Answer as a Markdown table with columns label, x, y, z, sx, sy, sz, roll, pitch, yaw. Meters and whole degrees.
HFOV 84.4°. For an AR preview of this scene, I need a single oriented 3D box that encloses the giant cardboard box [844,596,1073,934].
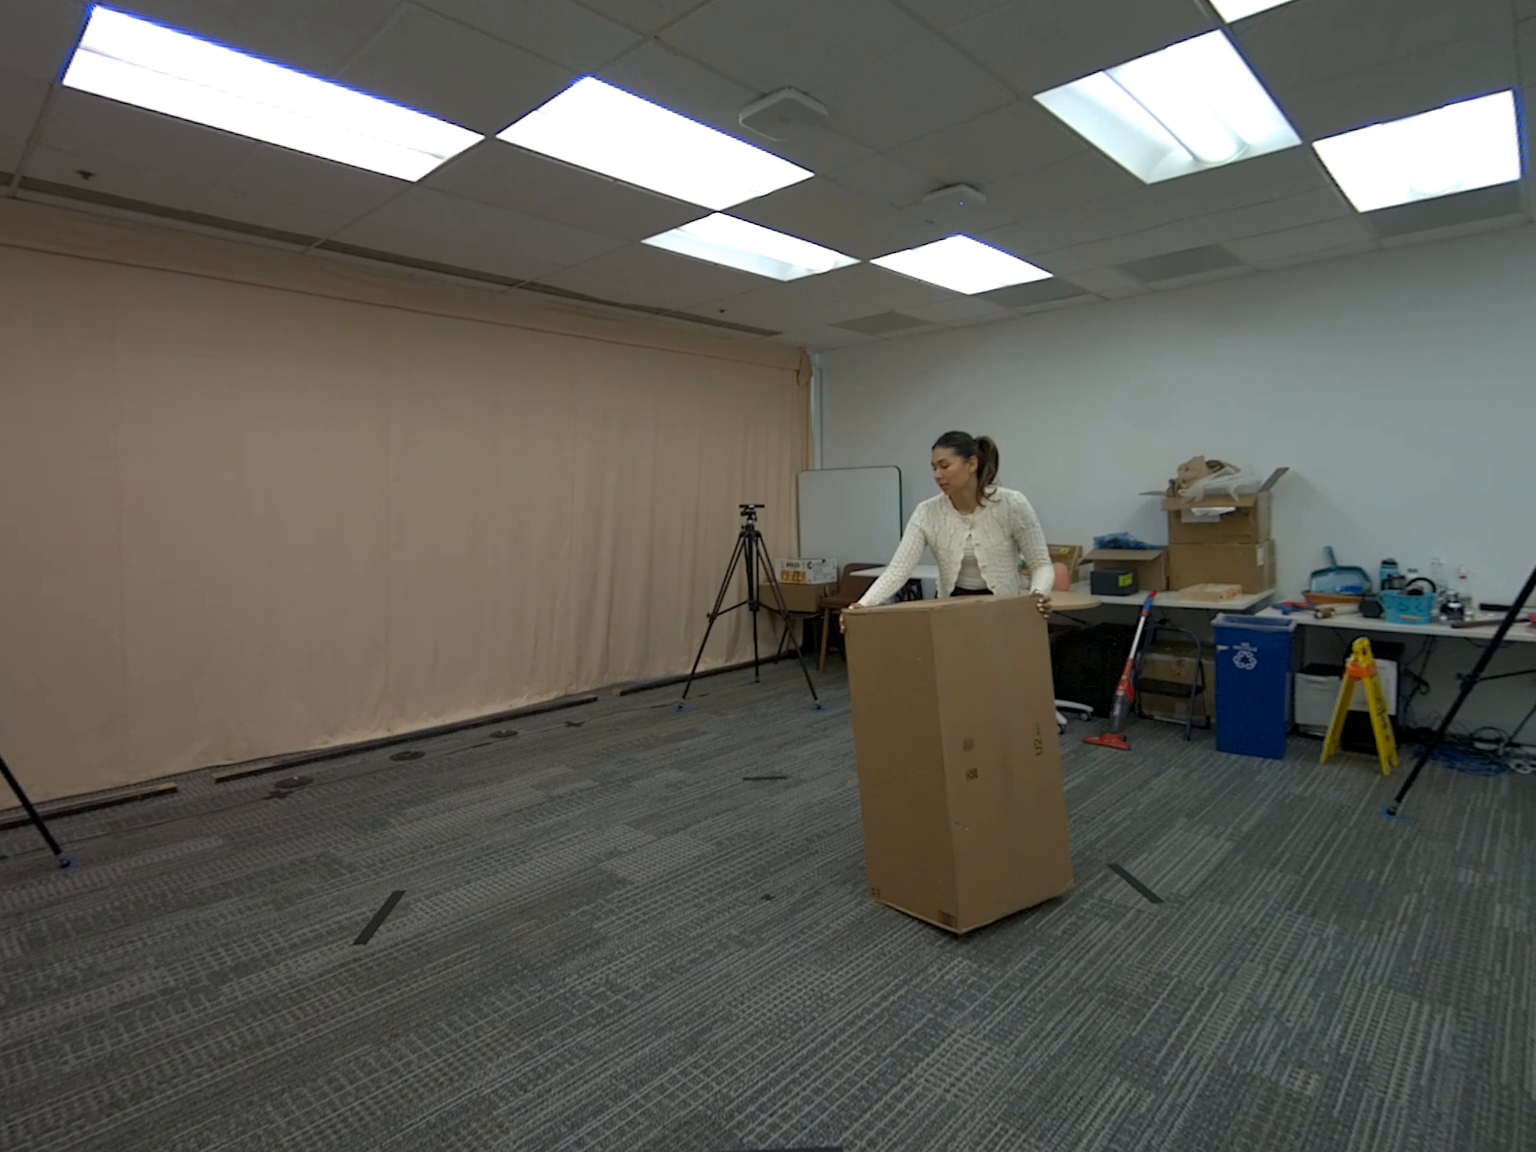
| label | x | y | z | sx | sy | sz | roll | pitch | yaw |
| --- | --- | --- | --- | --- | --- | --- | --- | --- | --- |
| giant cardboard box | 0.665 | 0.608 | 2.964 | 0.561 | 1.027 | 0.438 | -3 | -2 | -34 |
